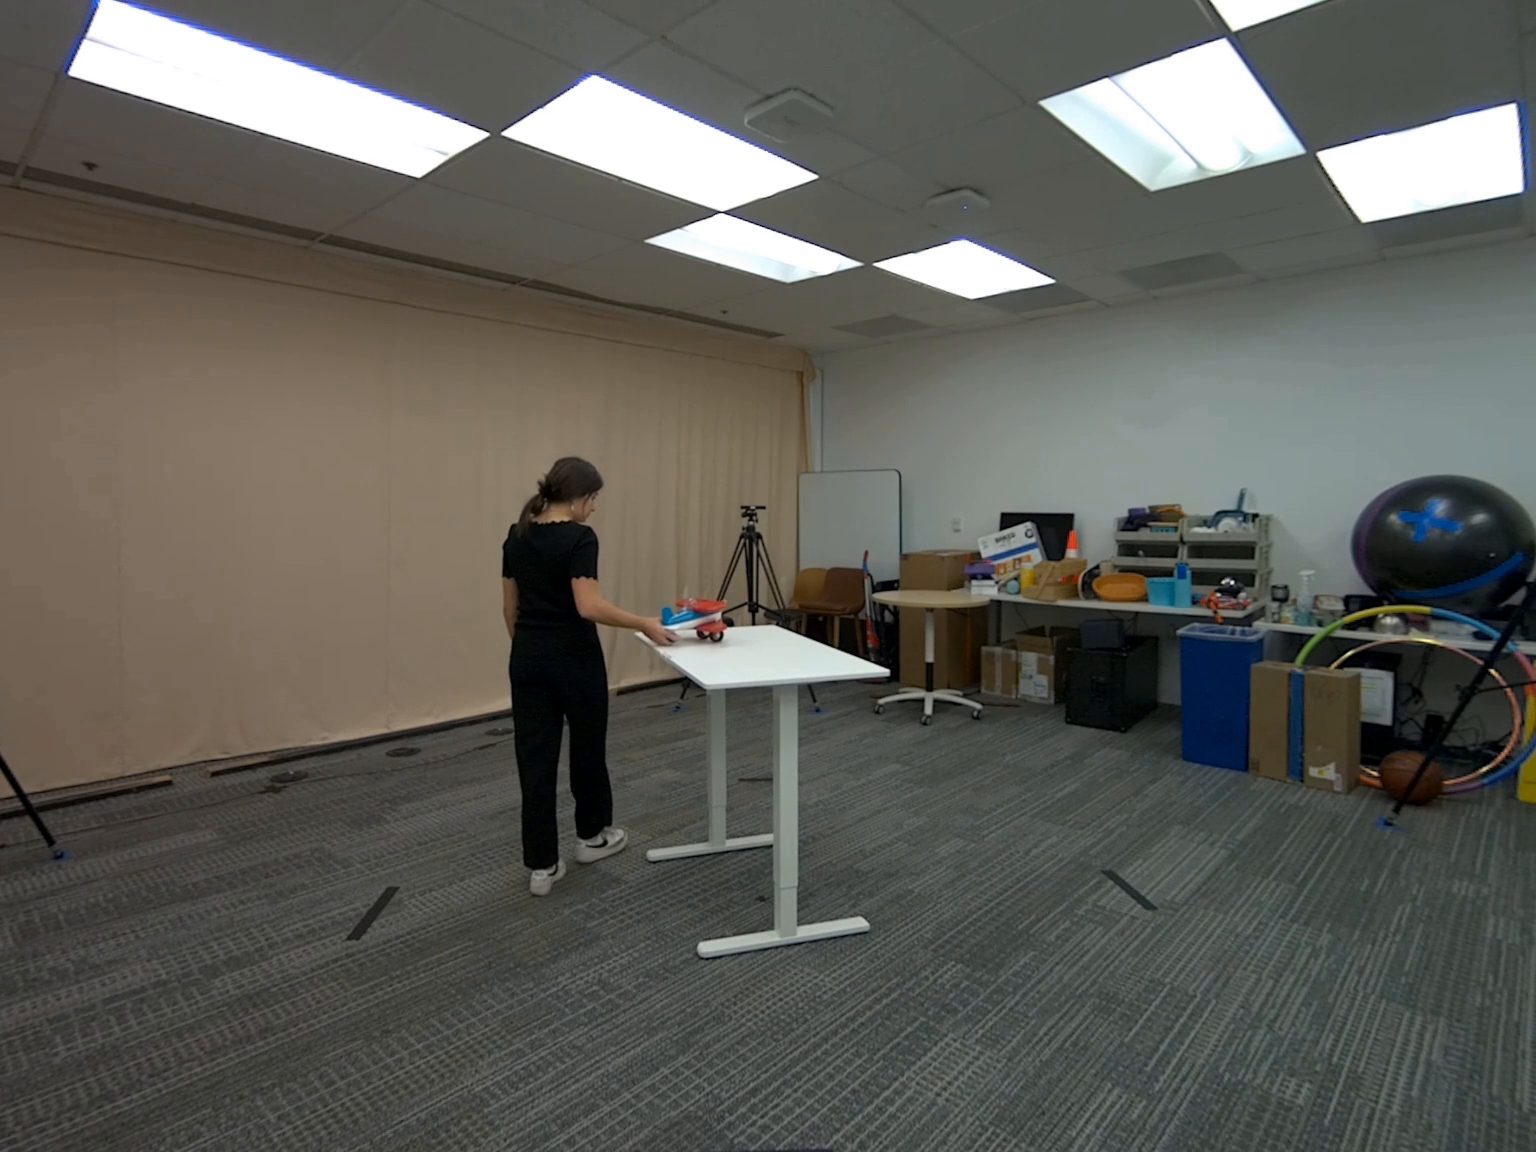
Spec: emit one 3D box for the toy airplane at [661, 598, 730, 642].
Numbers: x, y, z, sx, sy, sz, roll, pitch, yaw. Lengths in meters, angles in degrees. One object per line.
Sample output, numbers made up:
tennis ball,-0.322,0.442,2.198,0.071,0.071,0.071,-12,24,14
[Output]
toy airplane,-0.263,0.168,3.121,0.258,0.156,0.252,3,0,25
